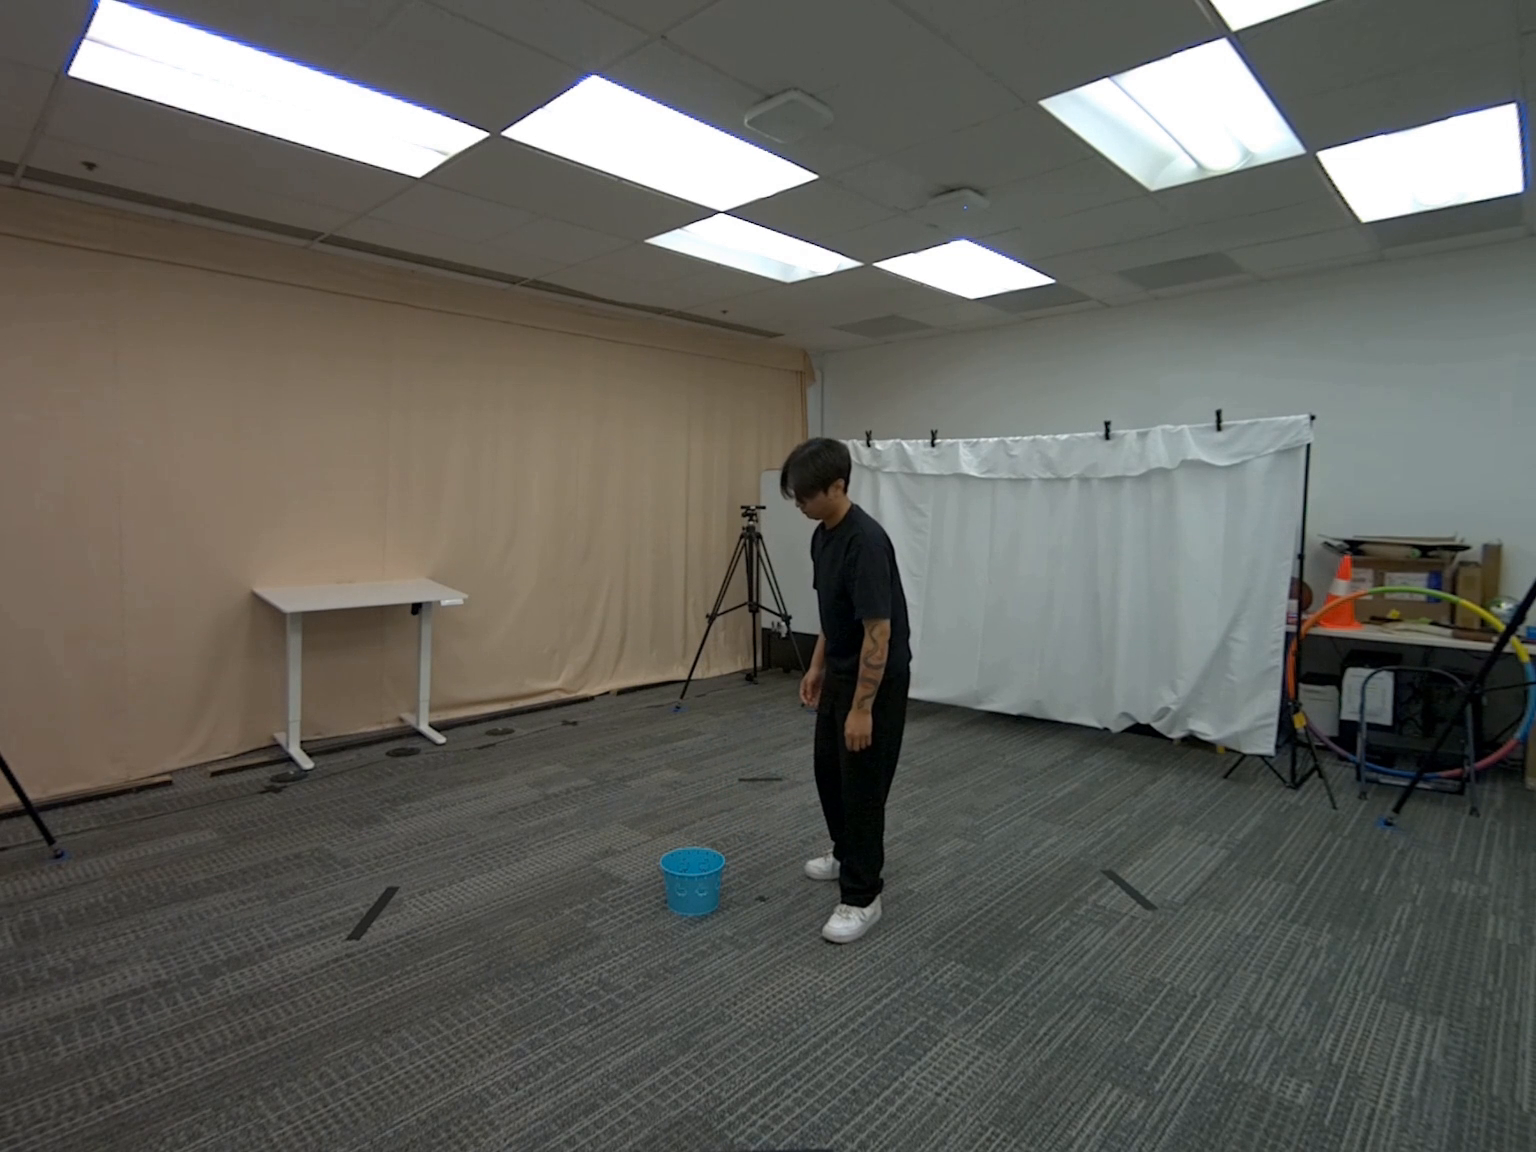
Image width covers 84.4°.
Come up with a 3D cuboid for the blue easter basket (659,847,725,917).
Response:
[{"bbox_3d":[-0.259,1.069,2.947,0.243,0.155,0.244,0,4,-2],"label":"blue easter basket"}]
